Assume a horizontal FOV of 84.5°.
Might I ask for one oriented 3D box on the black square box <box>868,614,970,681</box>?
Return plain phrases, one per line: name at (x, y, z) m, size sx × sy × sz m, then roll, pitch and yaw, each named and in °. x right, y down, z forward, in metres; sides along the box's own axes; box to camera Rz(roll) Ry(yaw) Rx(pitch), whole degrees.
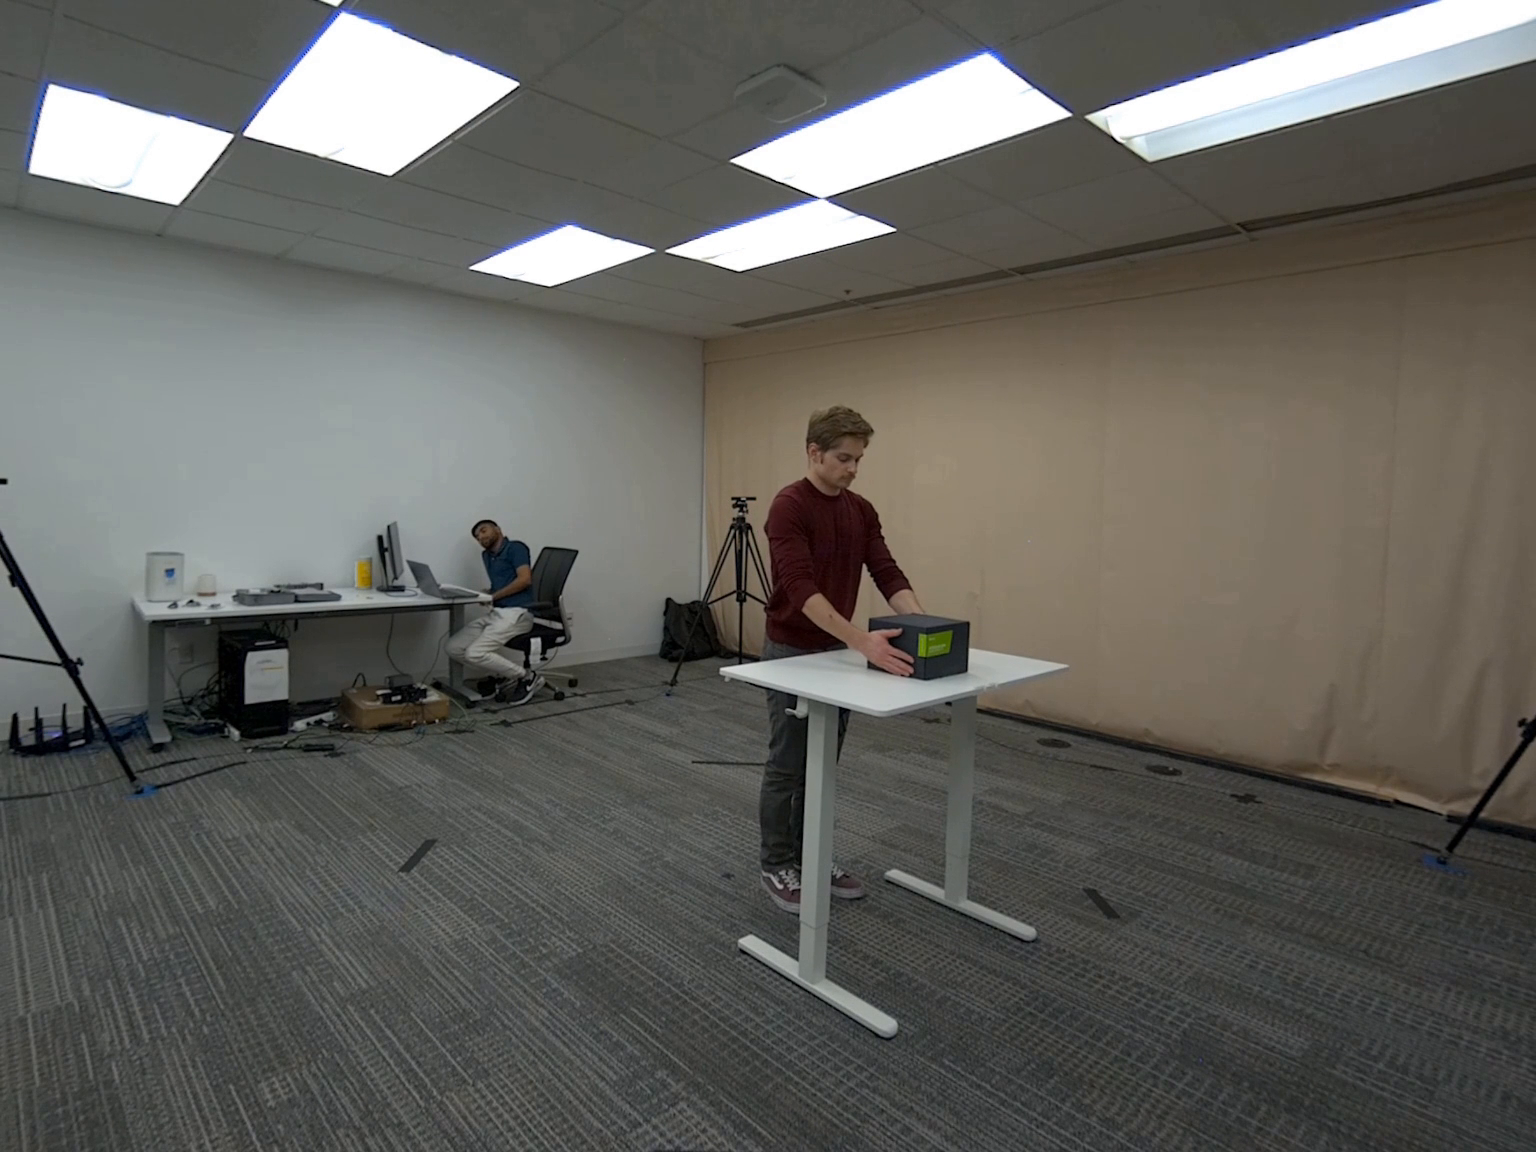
black square box at (0.447, 0.210, 2.561) m, size 0.223 × 0.155 × 0.223 m, roll -3°, pitch 7°, yaw -44°
